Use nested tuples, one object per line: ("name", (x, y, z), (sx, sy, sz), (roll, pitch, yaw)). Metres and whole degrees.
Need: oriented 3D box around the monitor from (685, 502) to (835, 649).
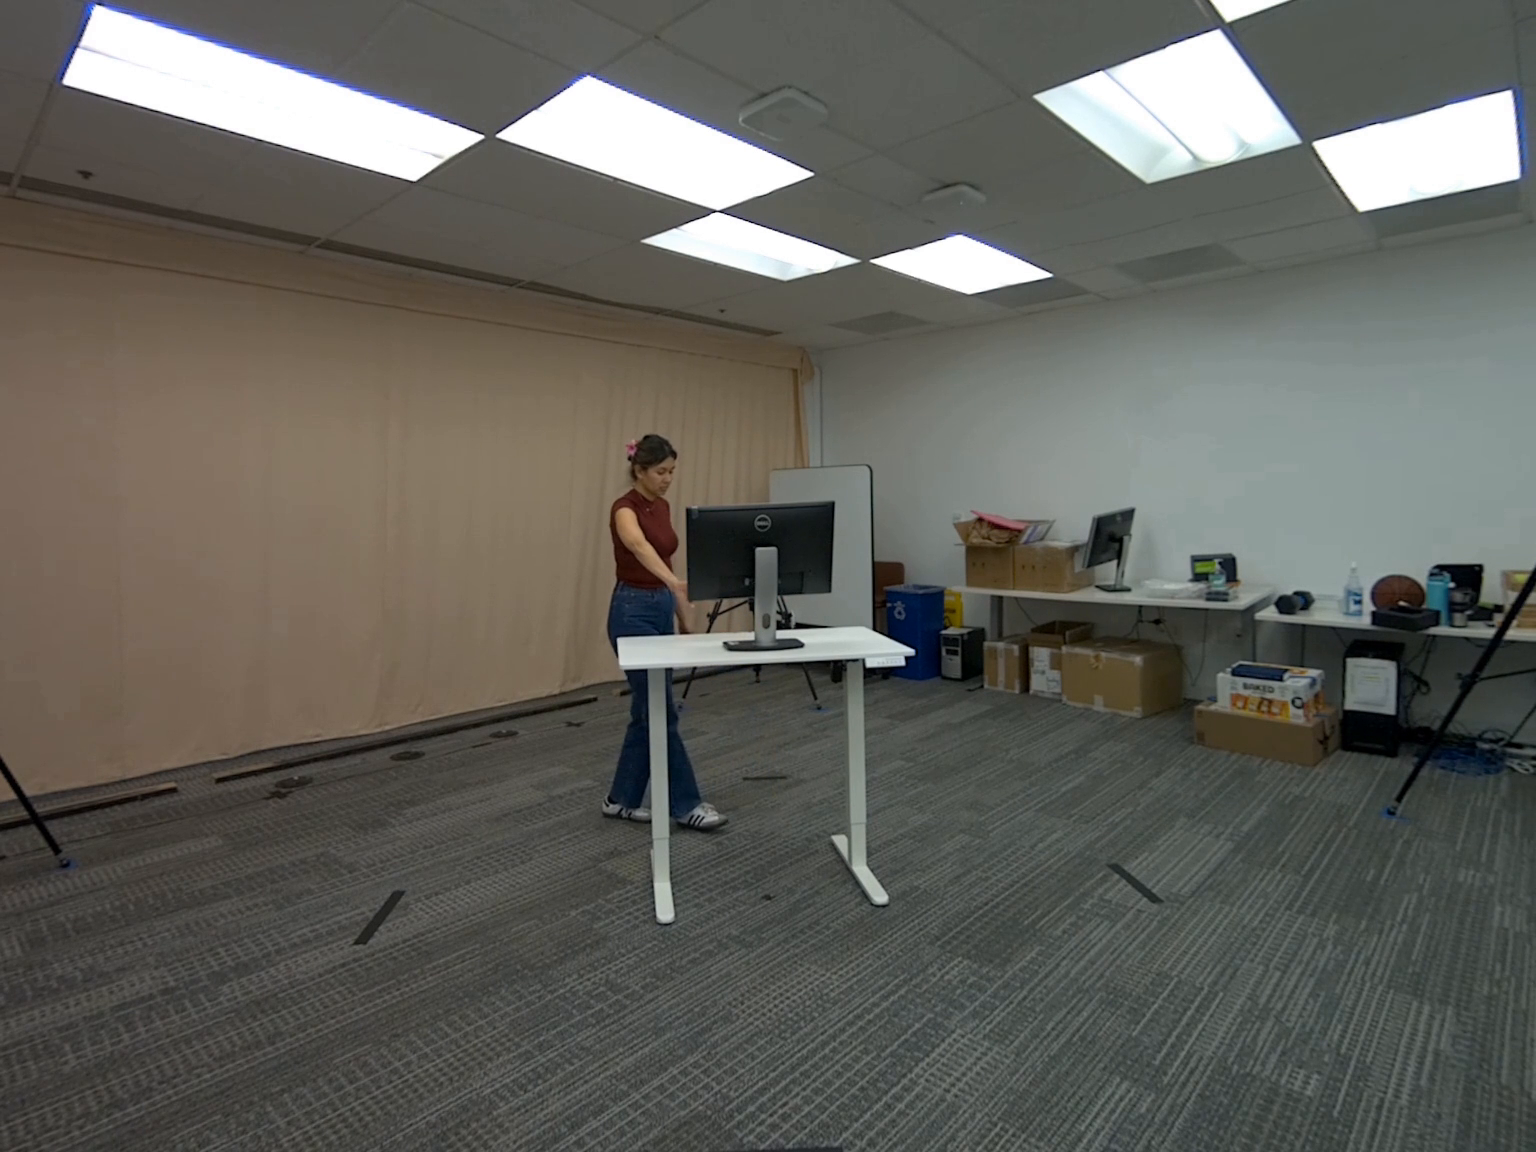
("monitor", (-0.012, 0.003, 2.995), (0.533, 0.521, 0.190), (-2, 5, -10))
